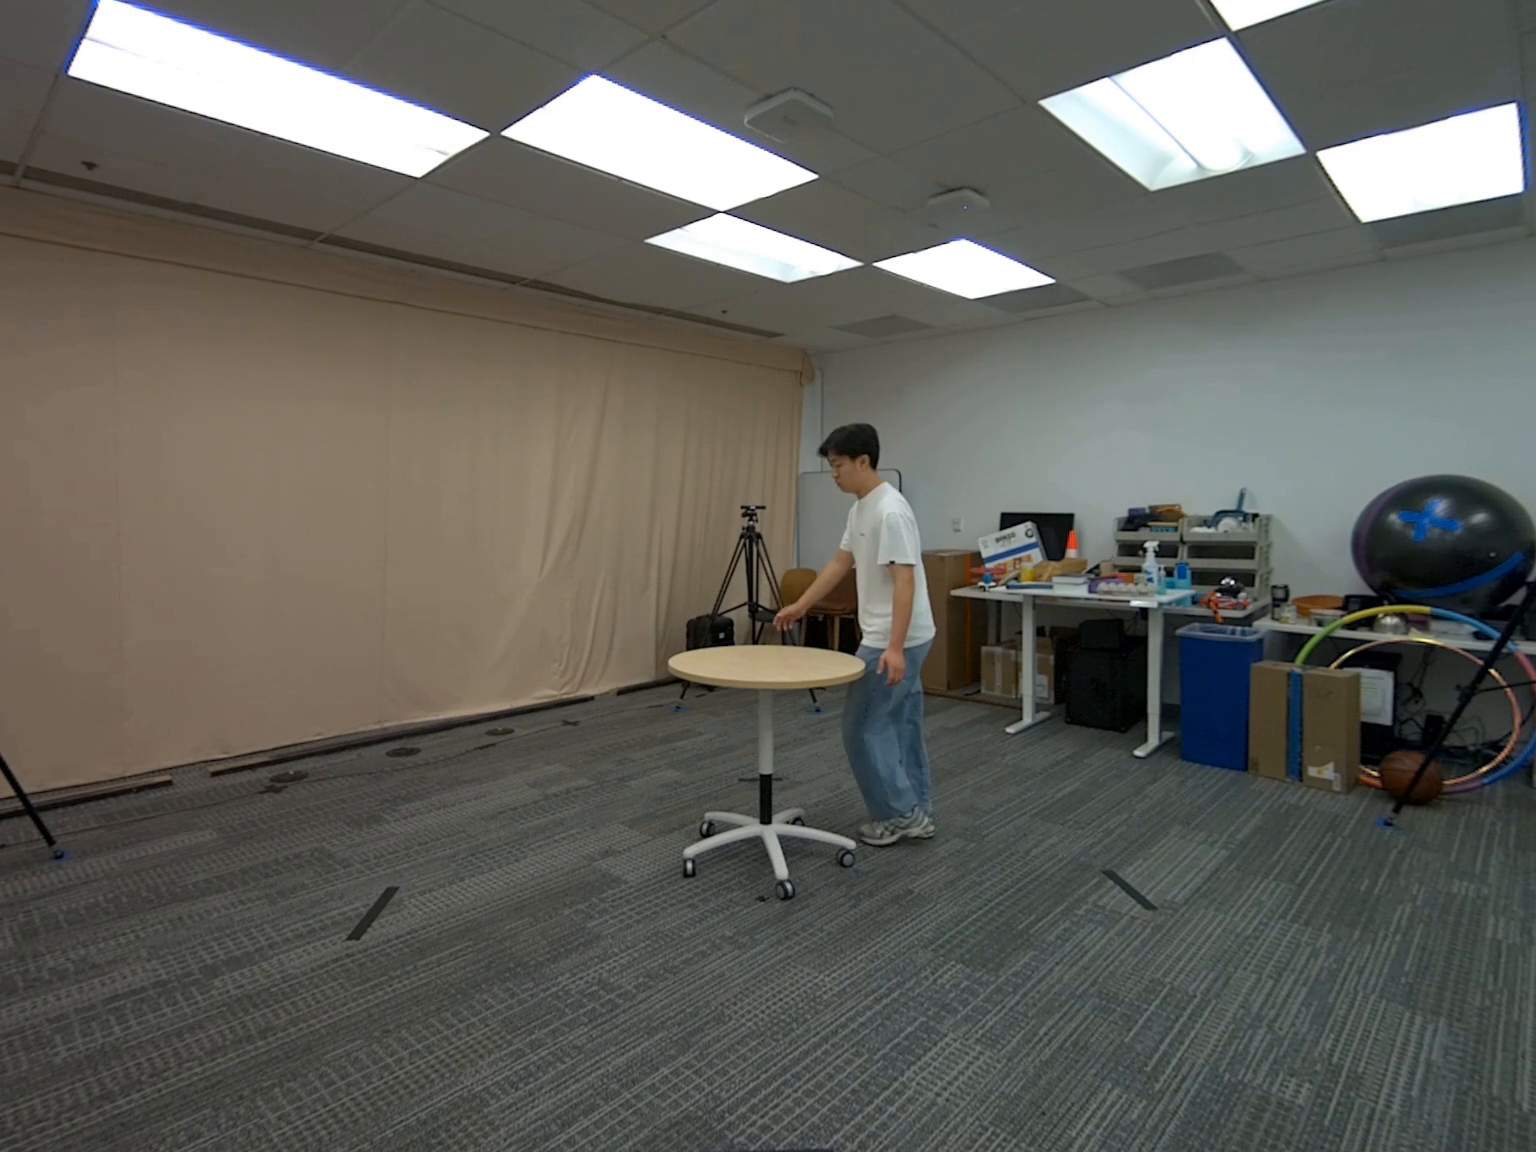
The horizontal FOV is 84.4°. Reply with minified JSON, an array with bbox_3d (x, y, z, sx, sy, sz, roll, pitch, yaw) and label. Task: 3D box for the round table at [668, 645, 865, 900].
[{"bbox_3d":[-0.004,0.729,3.304,0.763,0.792,0.766,0,4,-2],"label":"round table"}]
